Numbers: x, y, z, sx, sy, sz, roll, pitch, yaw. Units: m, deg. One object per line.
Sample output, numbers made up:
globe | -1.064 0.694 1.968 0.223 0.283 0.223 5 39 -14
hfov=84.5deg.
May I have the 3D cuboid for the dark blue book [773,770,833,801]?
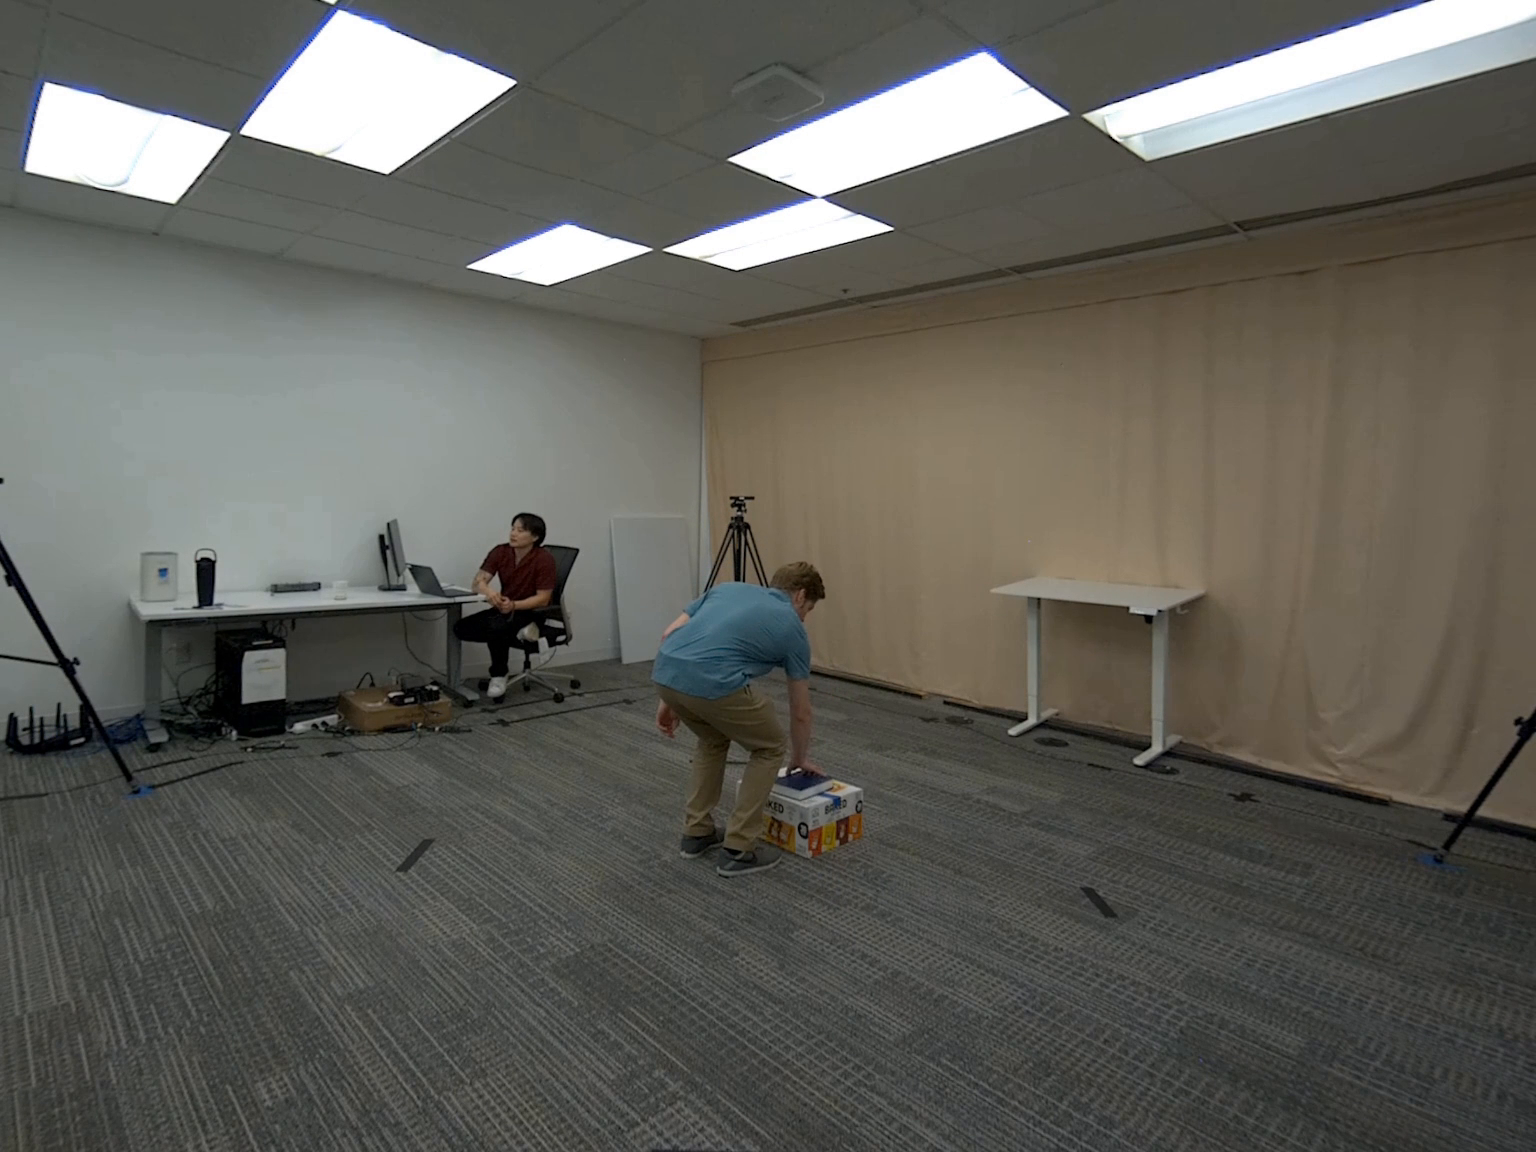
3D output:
dark blue book | 0.135 0.868 3.469 0.167 0.045 0.239 8 6 38
